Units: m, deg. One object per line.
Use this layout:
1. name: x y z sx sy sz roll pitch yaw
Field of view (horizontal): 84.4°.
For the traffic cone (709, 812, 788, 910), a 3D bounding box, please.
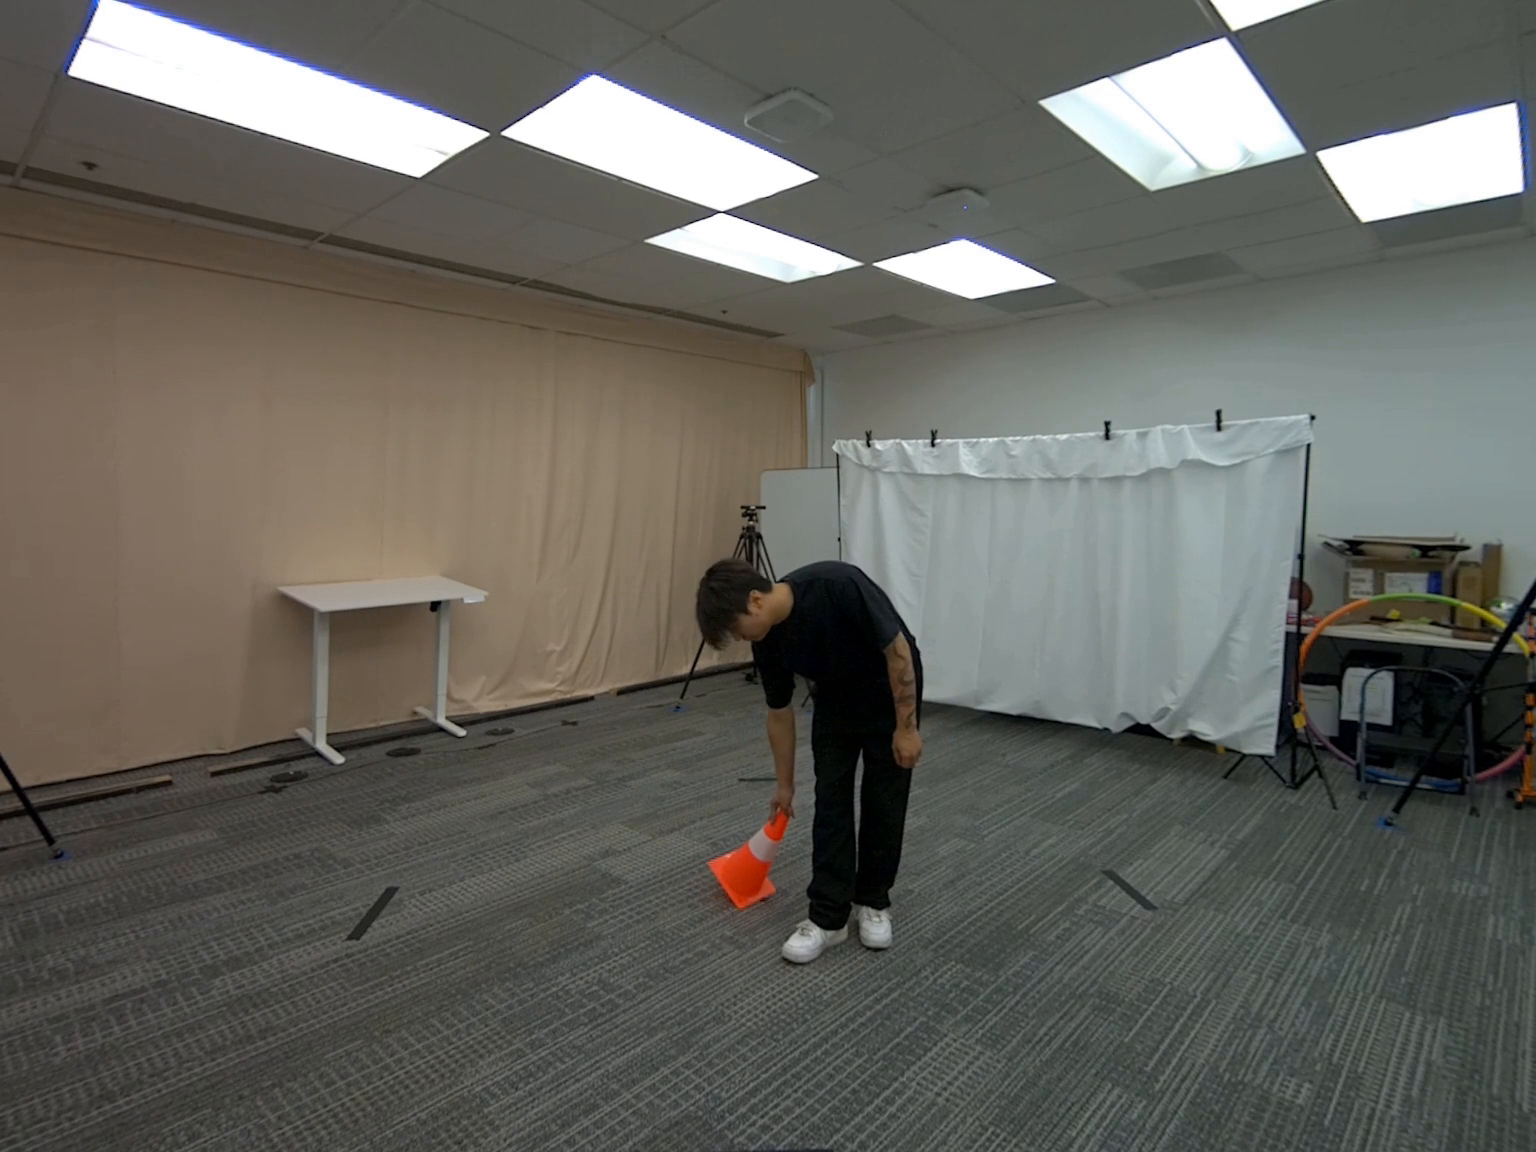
1. traffic cone: -0.010 0.939 2.940 0.197 0.383 0.212 5 33 -38
